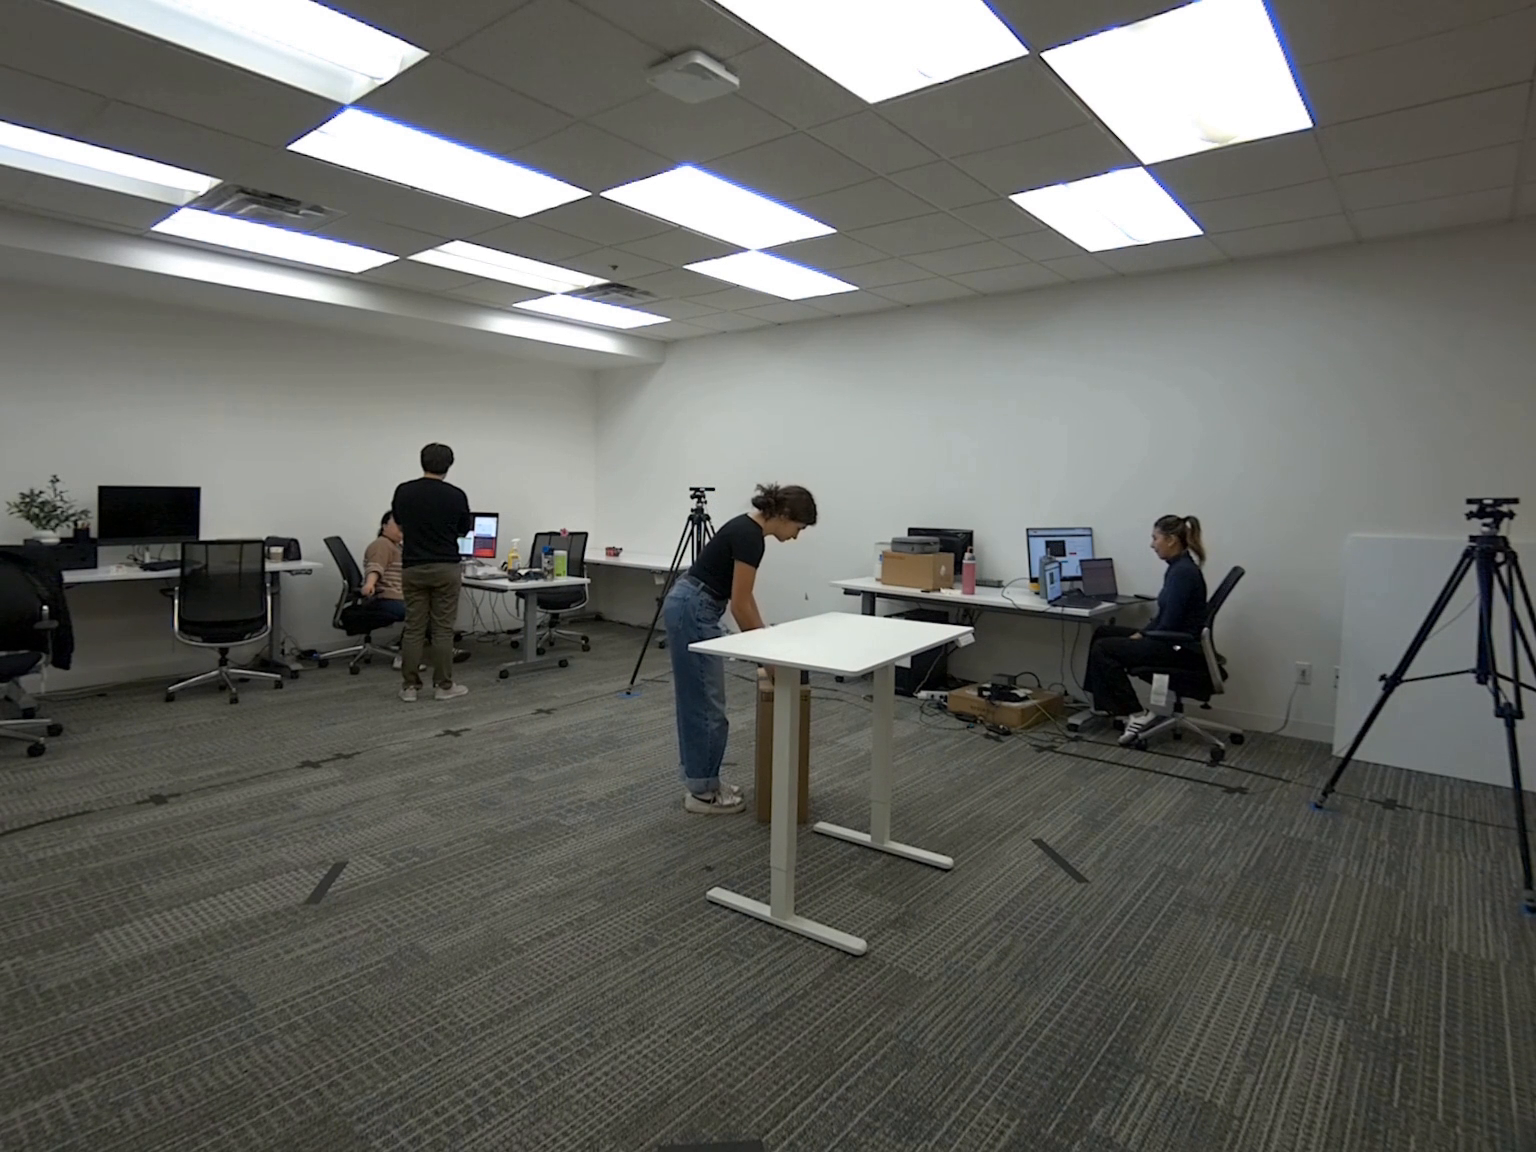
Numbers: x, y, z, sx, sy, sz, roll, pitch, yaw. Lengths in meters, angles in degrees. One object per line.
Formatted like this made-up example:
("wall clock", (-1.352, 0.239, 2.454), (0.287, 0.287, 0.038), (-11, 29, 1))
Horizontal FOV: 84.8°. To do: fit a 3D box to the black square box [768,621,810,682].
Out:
("black square box", (0.086, 0.327, 3.705), (0.156, 0.227, 0.218), (1, 2, -3))
